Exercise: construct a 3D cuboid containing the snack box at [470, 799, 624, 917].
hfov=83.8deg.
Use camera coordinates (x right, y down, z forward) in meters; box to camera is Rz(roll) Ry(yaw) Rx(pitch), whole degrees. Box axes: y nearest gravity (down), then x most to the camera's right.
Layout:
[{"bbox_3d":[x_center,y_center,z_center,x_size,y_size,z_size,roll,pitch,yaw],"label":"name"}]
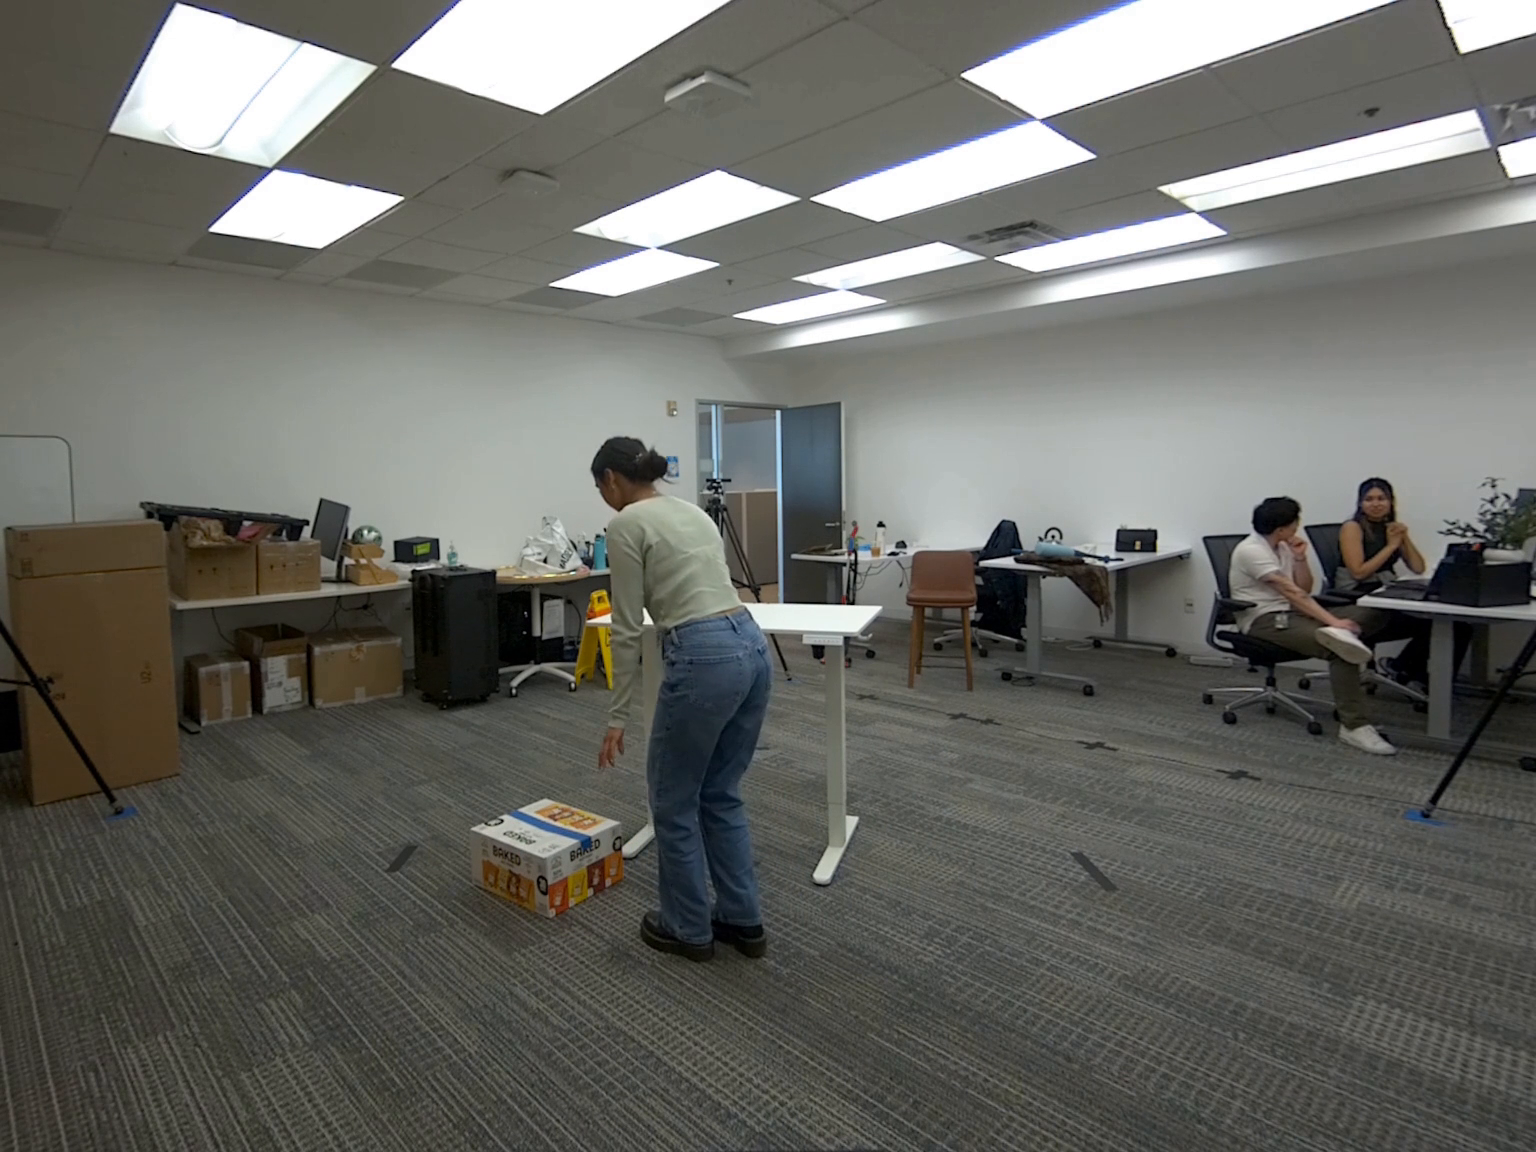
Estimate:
[{"bbox_3d":[-0.771,0.973,2.983,0.417,0.205,0.332,3,7,37],"label":"snack box"}]
